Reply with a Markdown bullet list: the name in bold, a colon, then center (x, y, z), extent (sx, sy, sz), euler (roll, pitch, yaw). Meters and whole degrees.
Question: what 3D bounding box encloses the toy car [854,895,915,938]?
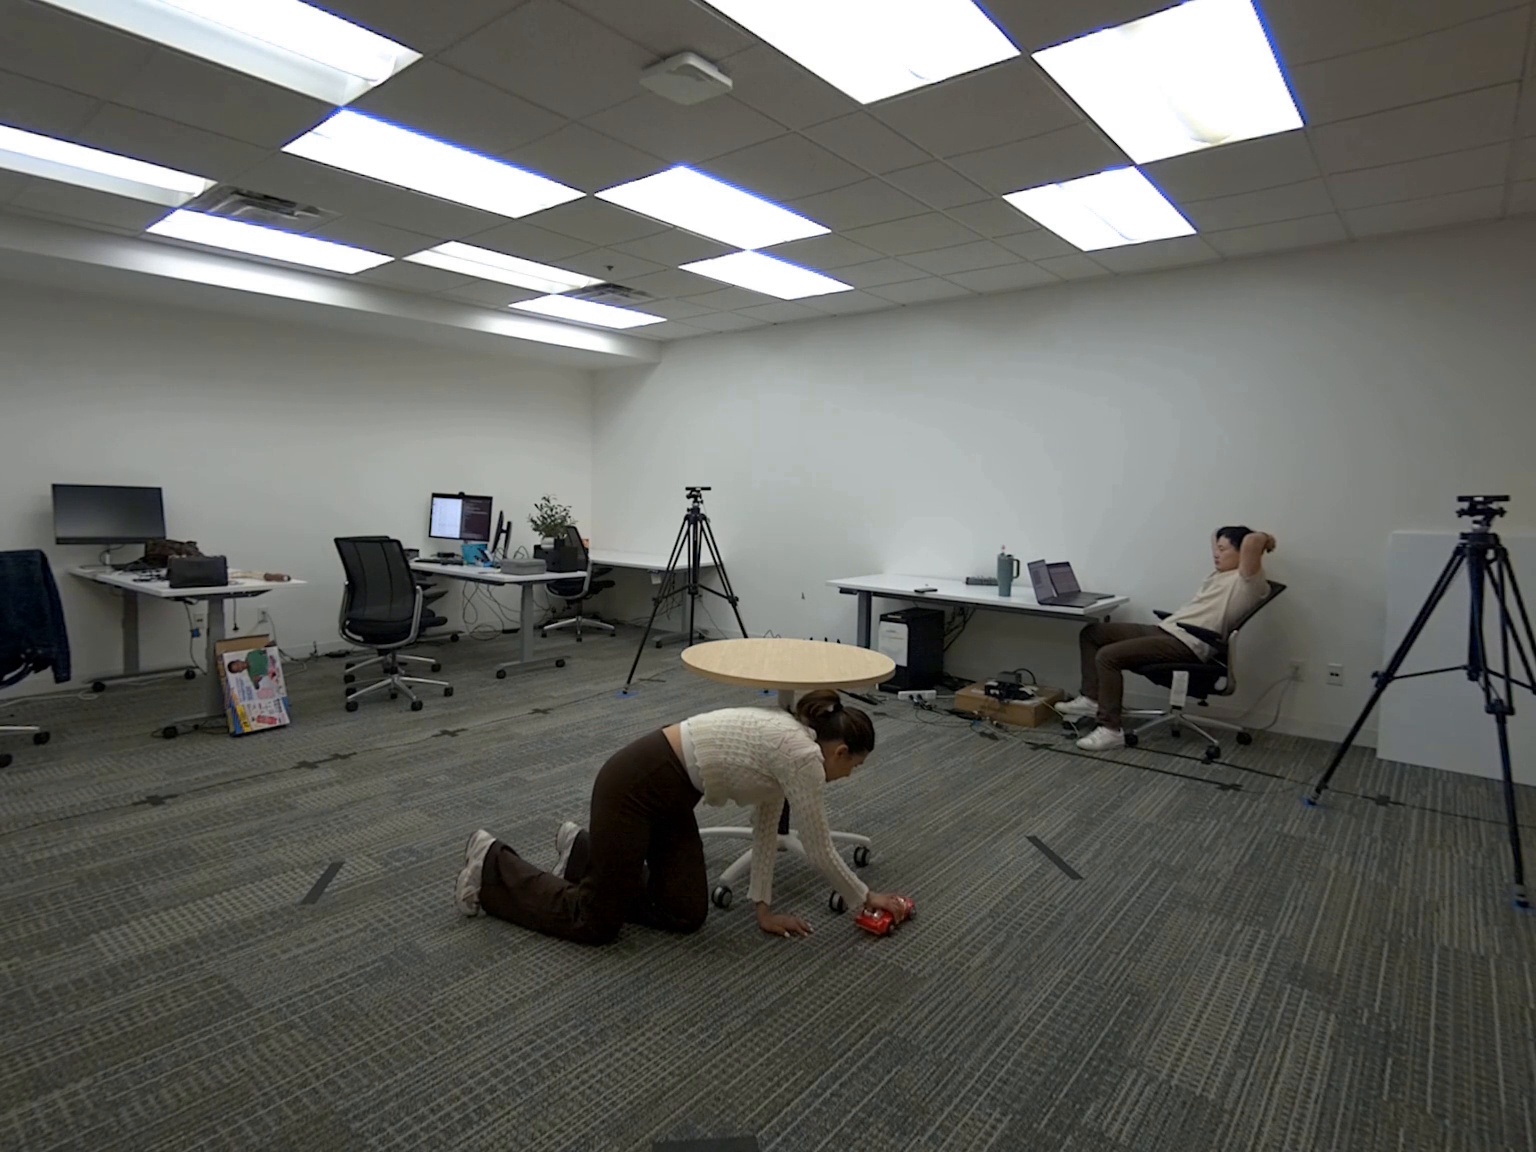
- **toy car**: center (0.365, 1.085, 2.729), extent (0.135, 0.083, 0.245), euler (6, -4, 39)
